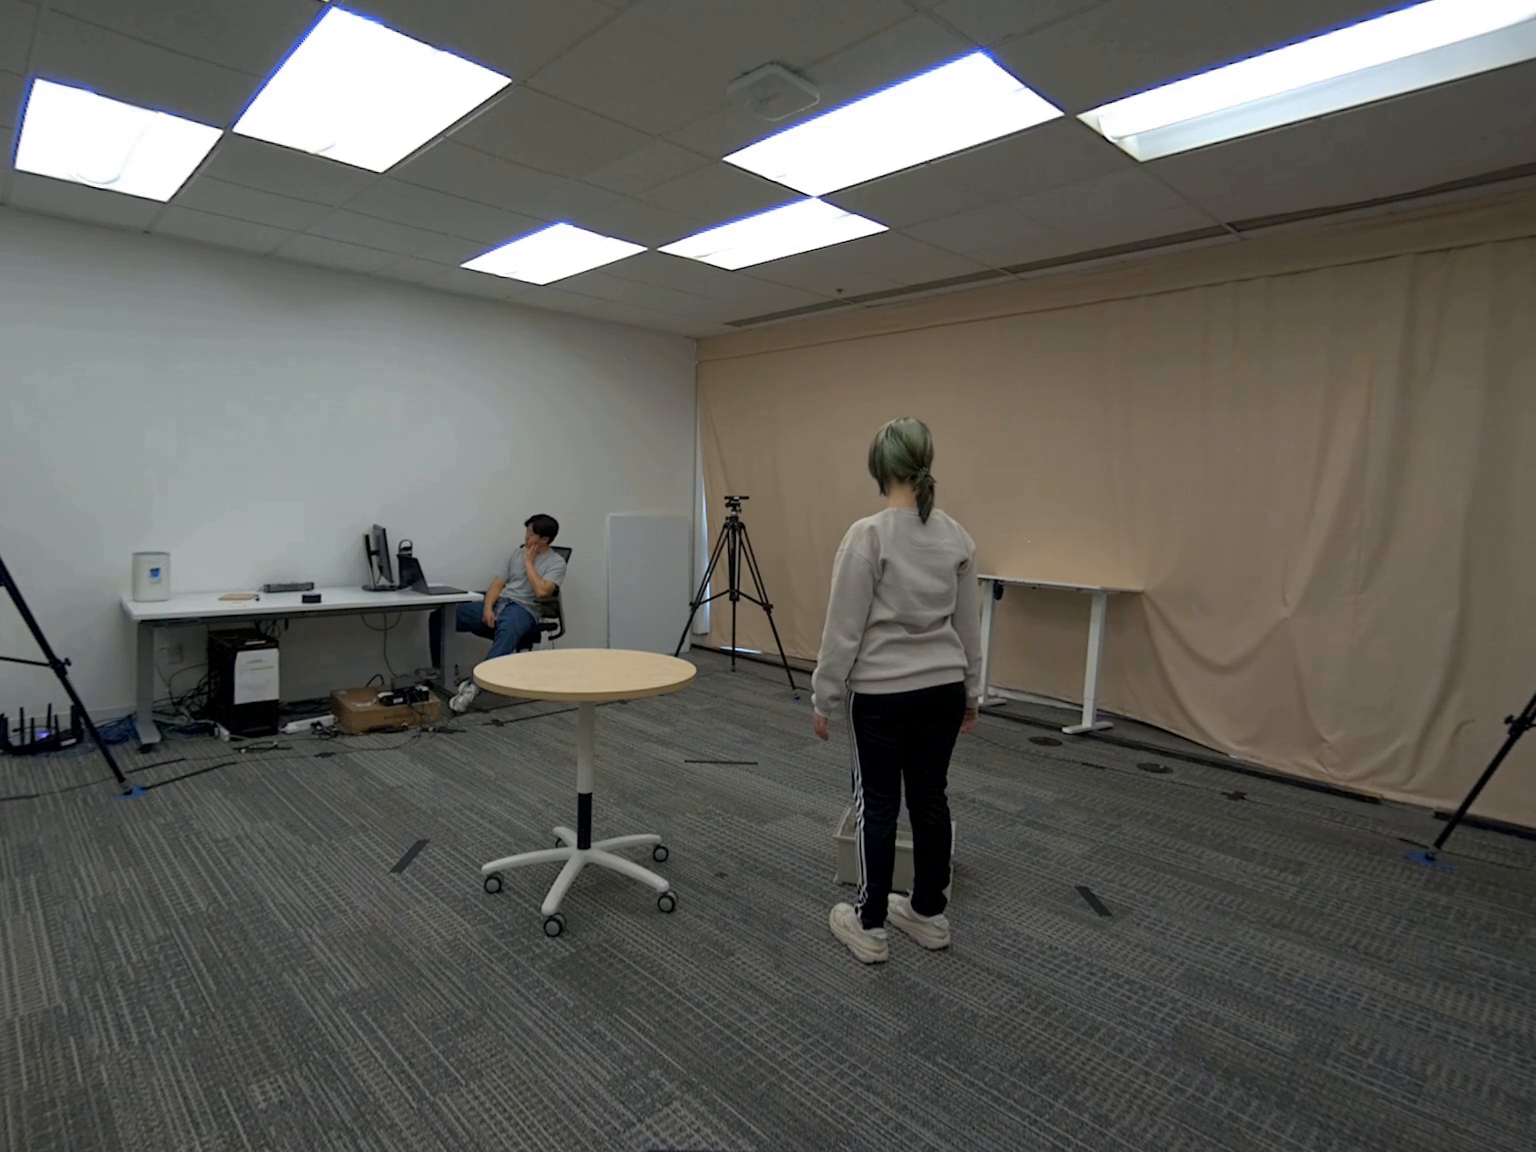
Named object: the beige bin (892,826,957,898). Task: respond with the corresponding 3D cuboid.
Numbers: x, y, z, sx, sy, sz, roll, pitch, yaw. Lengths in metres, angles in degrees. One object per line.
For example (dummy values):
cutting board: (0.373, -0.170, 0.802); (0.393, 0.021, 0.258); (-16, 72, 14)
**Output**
beige bin: (0.482, 1.030, 3.156); (0.428, 0.188, 0.374); (3, 6, 15)
